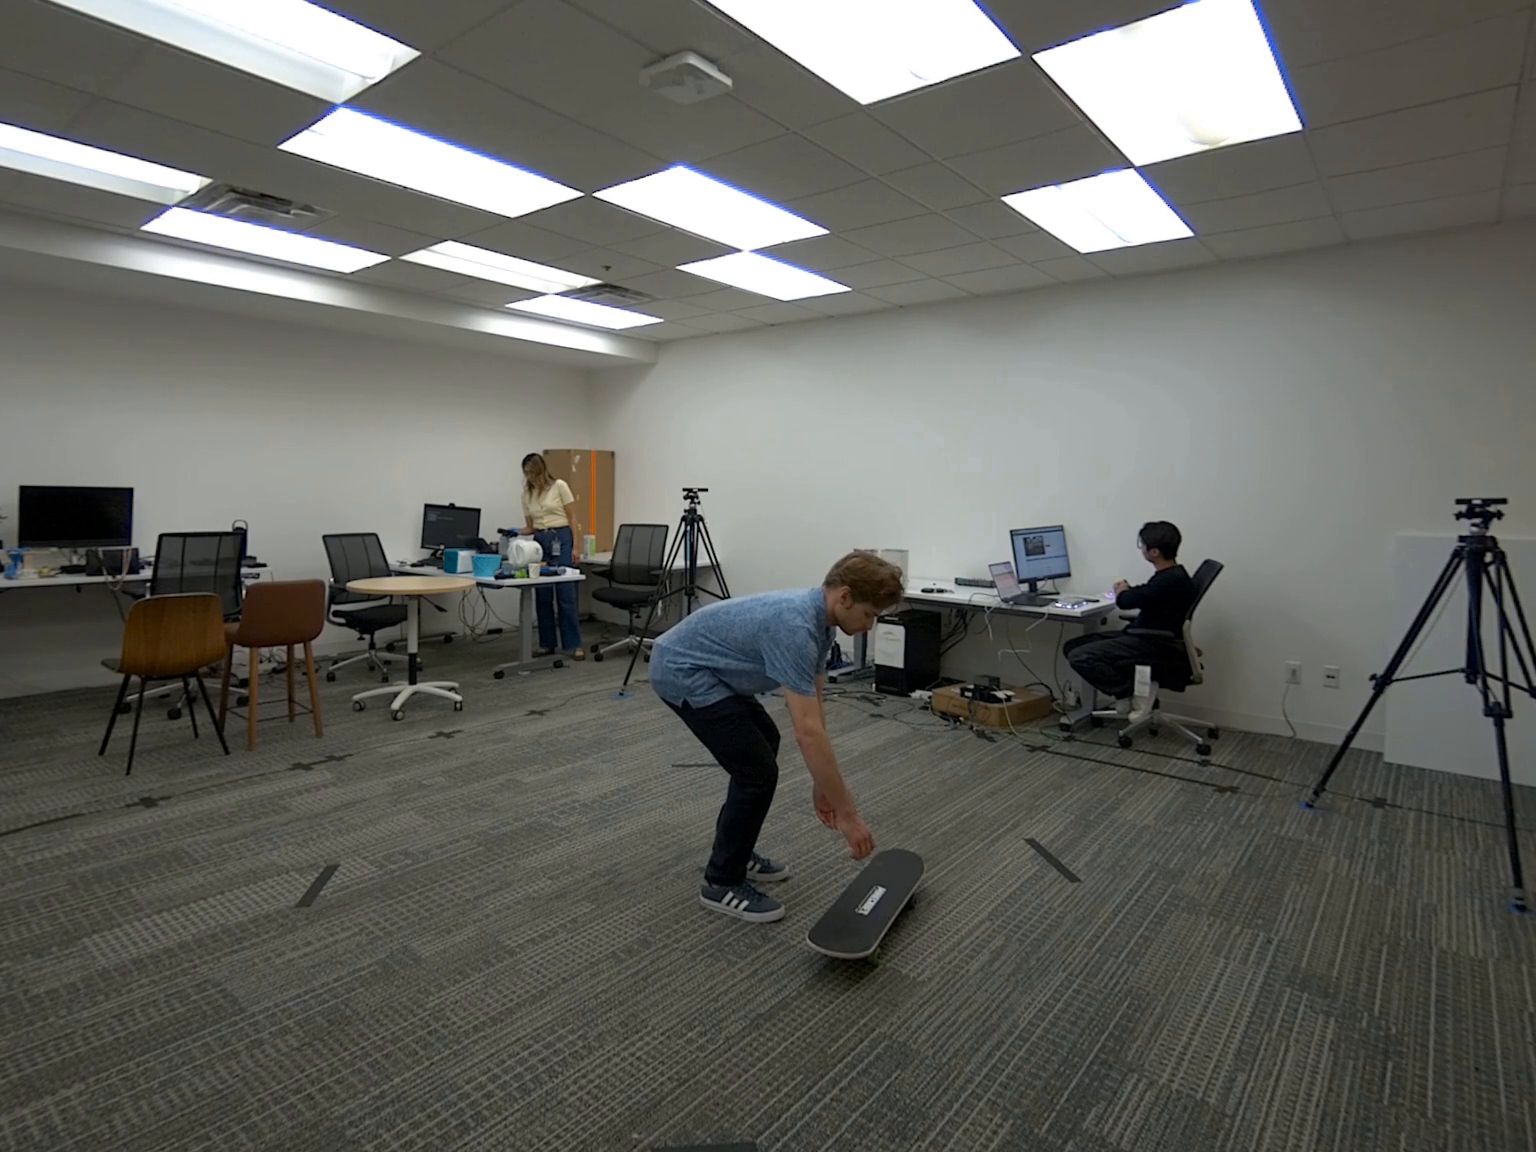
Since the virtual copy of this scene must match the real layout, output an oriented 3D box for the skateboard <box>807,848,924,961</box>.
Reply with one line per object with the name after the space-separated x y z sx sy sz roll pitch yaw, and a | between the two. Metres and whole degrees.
0.325 1.062 2.723 0.199 0.110 0.768 4 6 25 | skateboard
